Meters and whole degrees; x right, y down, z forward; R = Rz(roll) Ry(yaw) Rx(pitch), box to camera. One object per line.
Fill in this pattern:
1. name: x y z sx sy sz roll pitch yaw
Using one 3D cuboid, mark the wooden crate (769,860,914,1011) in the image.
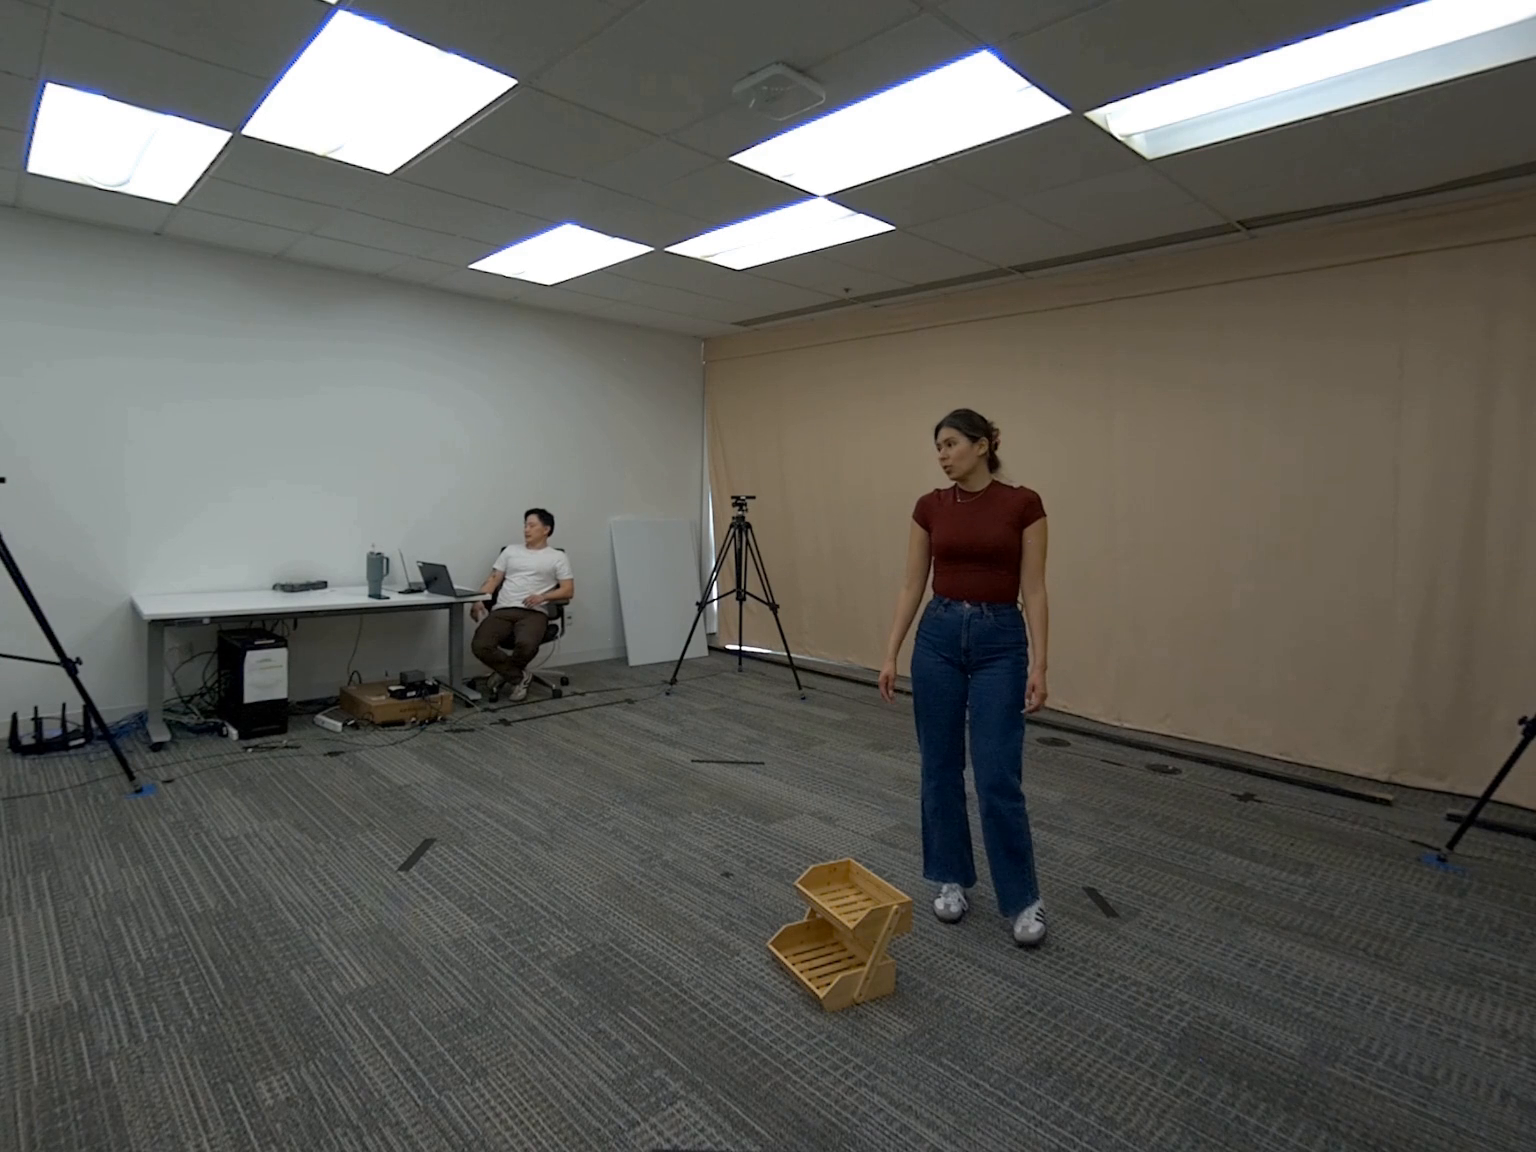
1. wooden crate: 0.196 1.036 2.462 0.296 0.272 0.332 -1 5 -30
